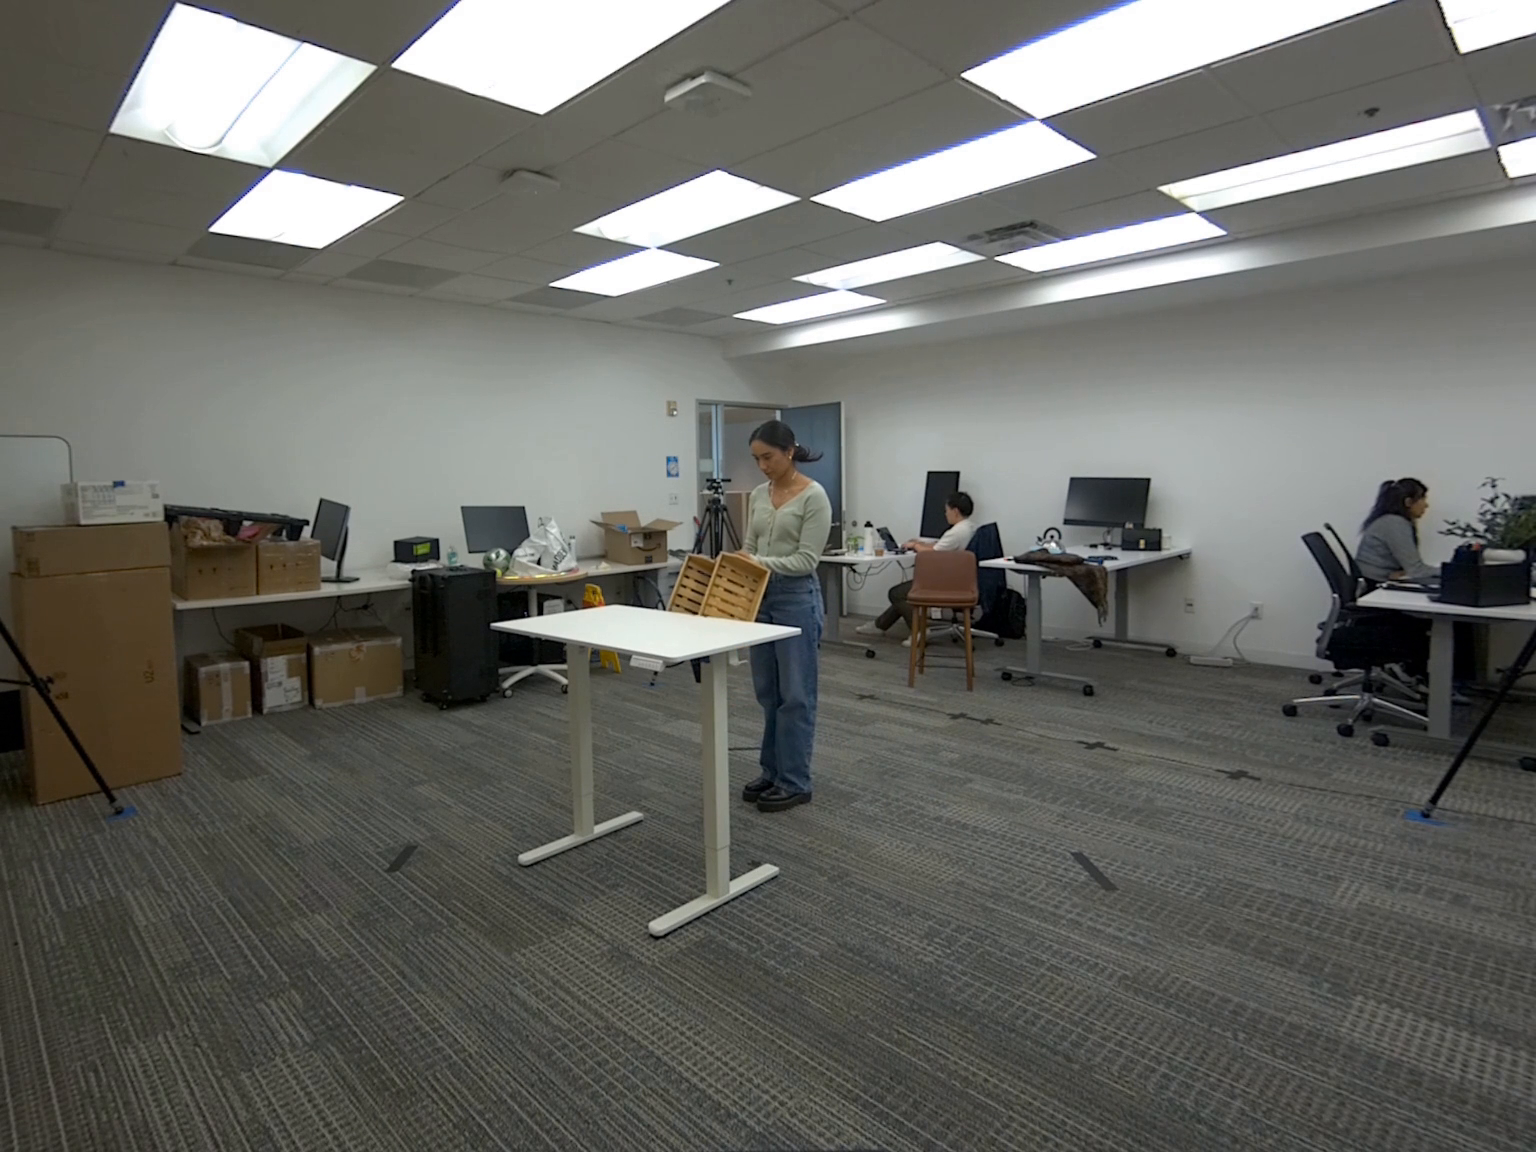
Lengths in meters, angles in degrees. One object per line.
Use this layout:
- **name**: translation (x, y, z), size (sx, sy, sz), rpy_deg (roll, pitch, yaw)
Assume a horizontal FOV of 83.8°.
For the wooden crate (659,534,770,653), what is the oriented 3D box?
- **wooden crate**: translation (-0.207, 0.074, 3.410), size (0.297, 0.328, 0.275), rpy_deg (25, -22, -13)
